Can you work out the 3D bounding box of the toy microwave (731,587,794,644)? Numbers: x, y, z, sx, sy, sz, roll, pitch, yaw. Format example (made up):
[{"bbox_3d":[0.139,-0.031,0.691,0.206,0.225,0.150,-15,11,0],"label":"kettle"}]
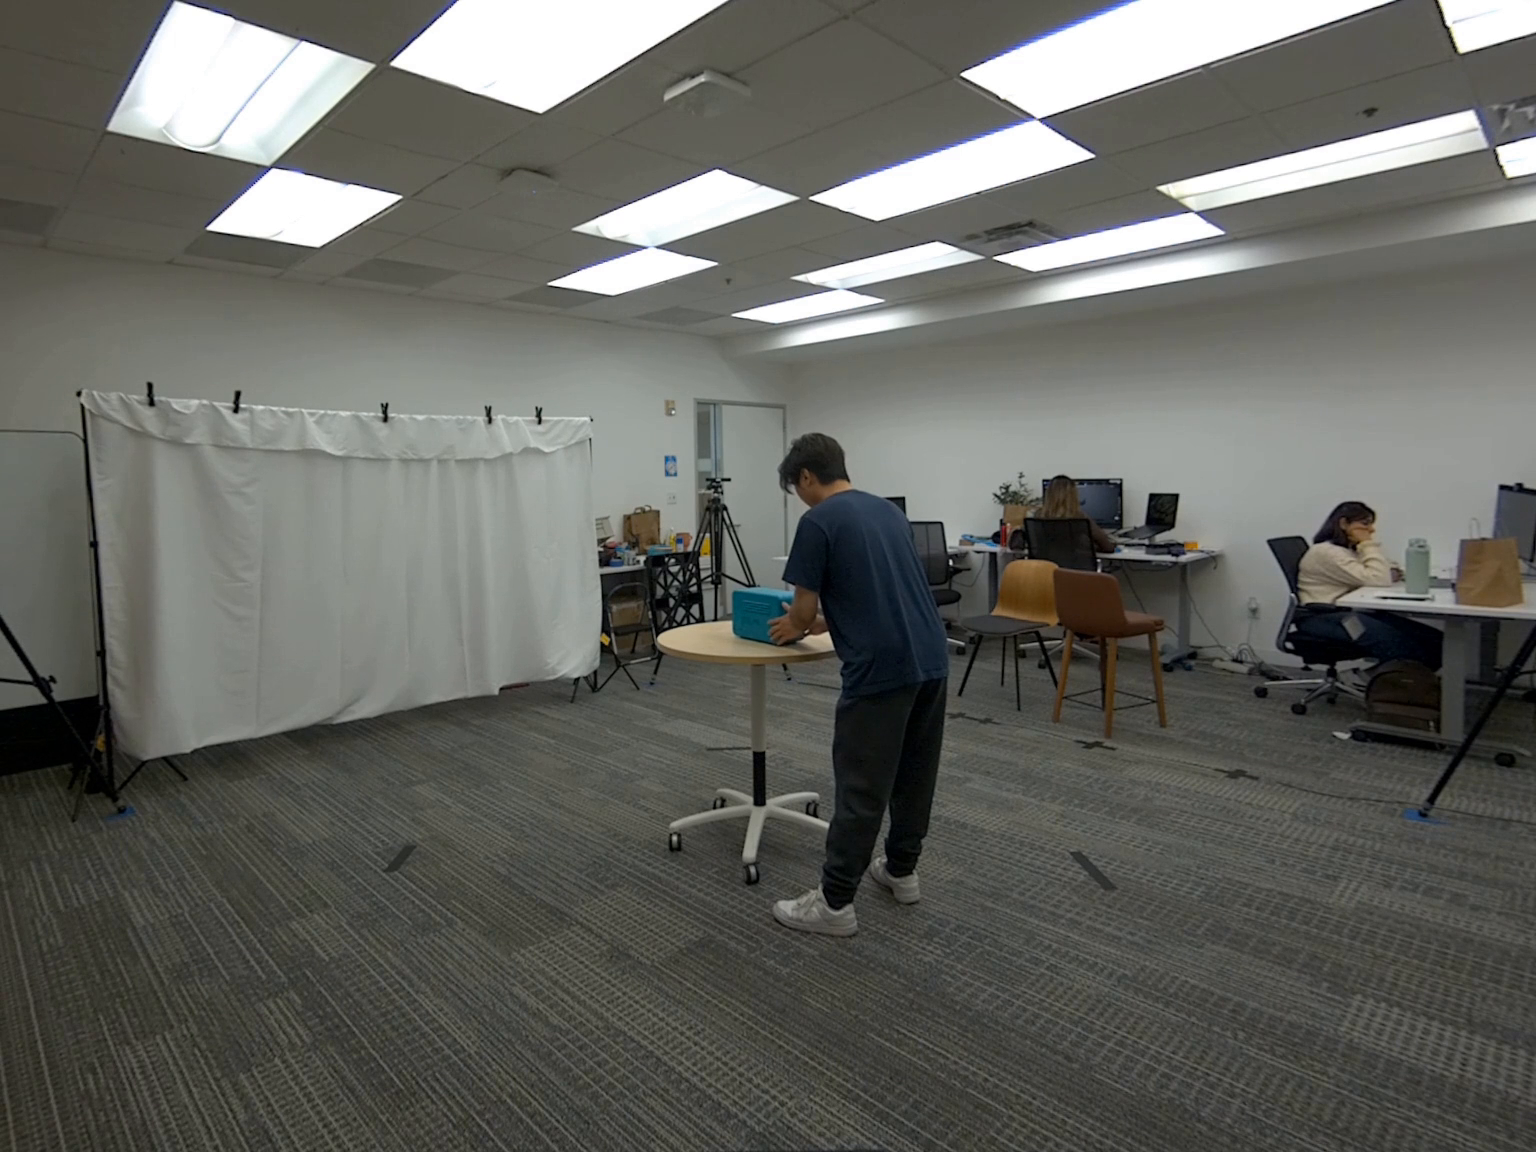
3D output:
[{"bbox_3d":[0.007,0.145,3.184,0.148,0.183,0.295,-5,7,-39],"label":"toy microwave"}]
